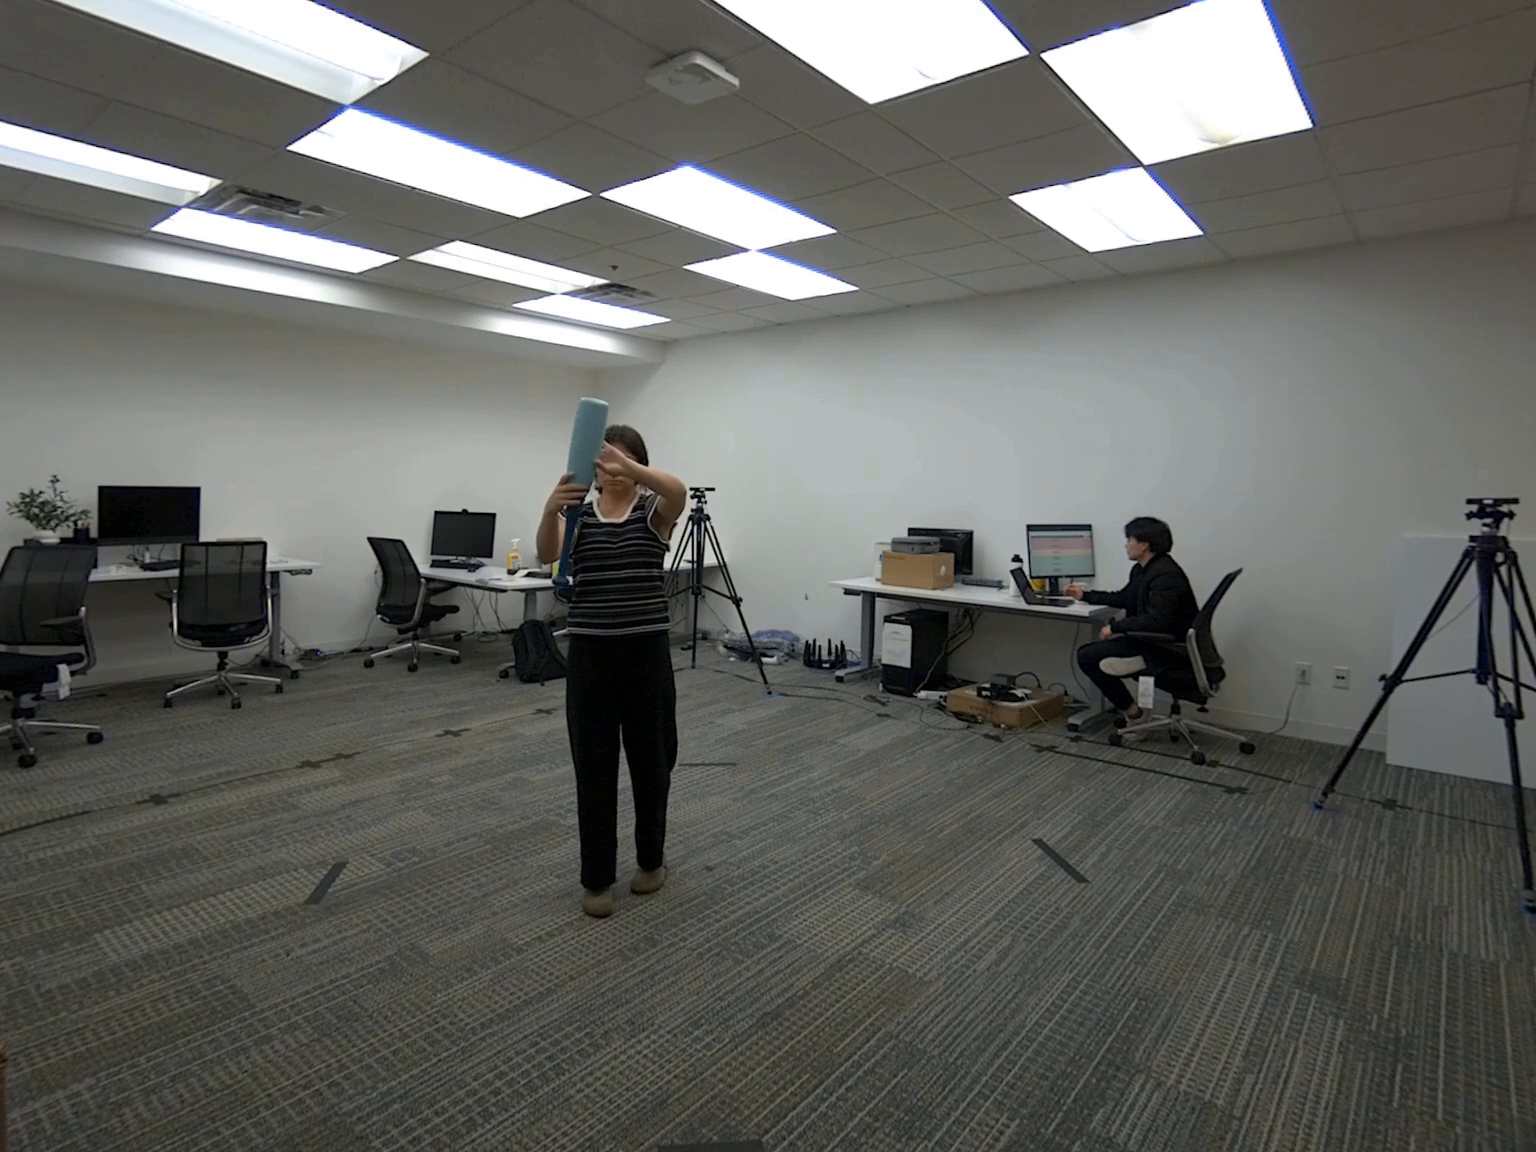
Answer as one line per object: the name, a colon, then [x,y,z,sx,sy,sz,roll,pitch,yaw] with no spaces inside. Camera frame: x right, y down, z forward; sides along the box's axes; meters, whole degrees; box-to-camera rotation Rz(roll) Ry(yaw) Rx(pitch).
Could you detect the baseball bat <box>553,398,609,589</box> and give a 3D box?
baseball bat: [-0.551,-0.235,2.409,0.089,0.540,0.090,14,8,-4]
